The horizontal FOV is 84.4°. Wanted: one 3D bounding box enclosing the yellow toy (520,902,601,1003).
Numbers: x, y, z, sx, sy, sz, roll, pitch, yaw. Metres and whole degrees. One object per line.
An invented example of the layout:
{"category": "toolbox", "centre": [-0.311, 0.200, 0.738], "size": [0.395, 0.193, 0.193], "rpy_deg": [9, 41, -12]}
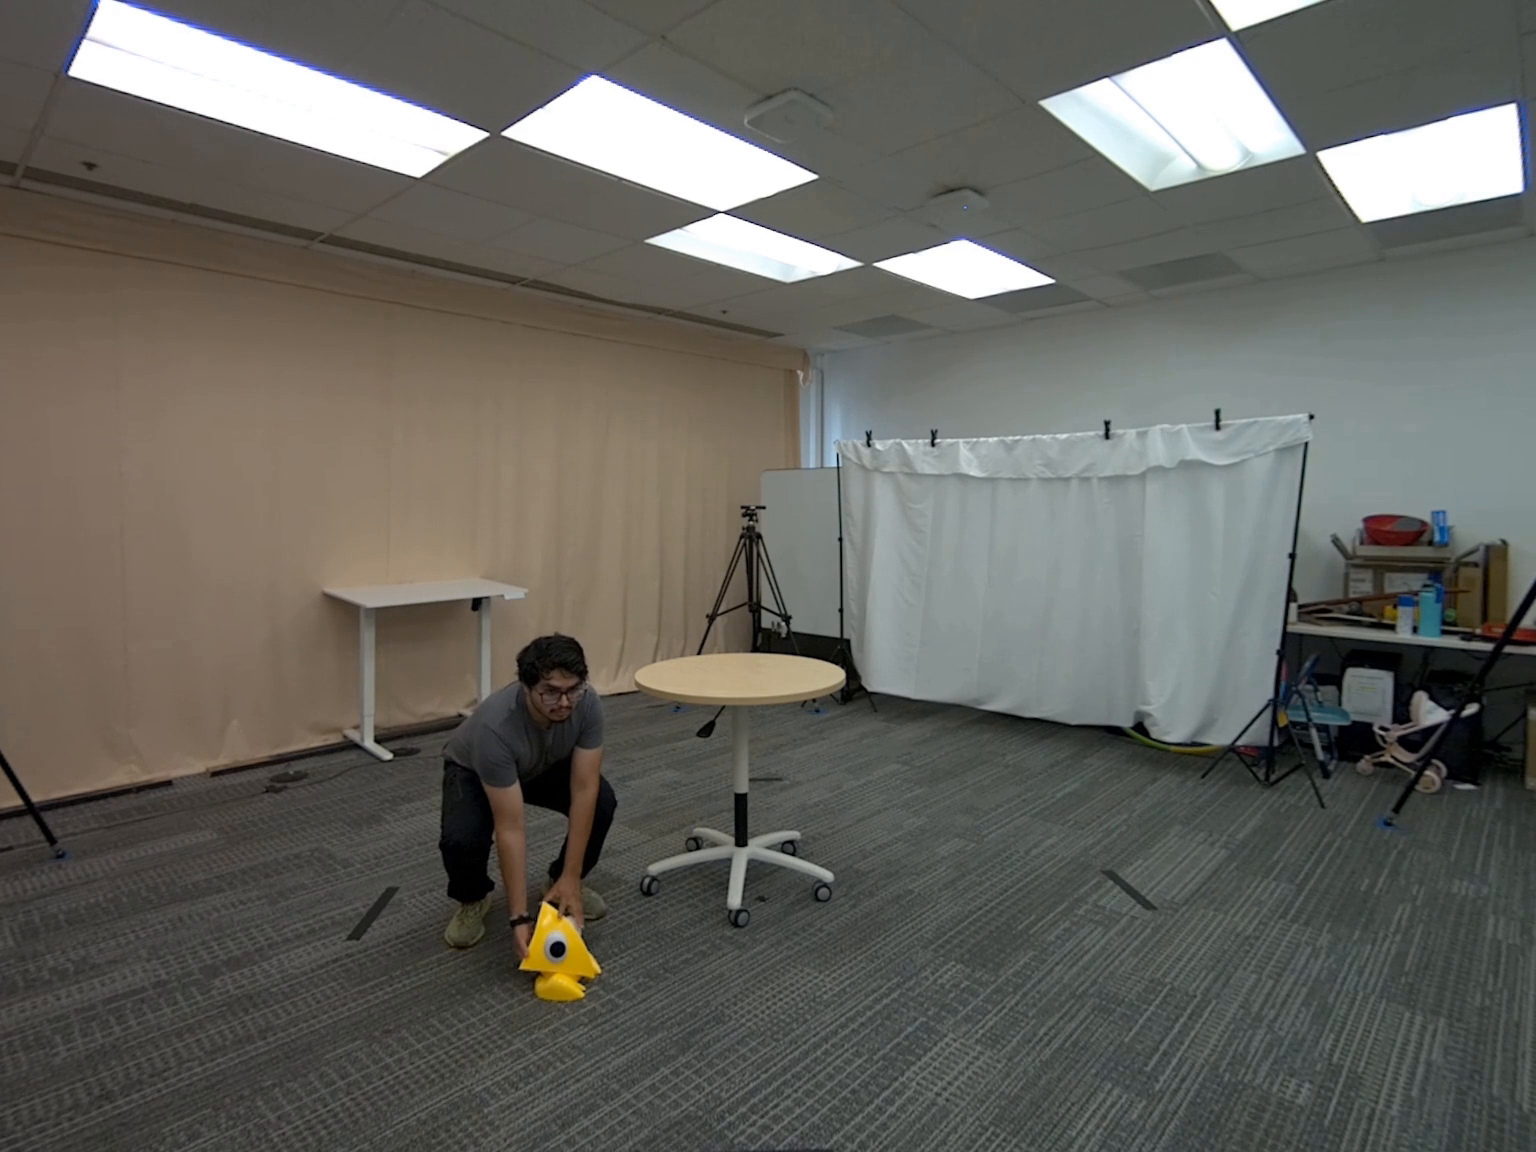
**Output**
{"category": "yellow toy", "centre": [-0.599, 1.082, 2.462], "size": [0.196, 0.230, 0.202], "rpy_deg": [-1, 3, 12]}
